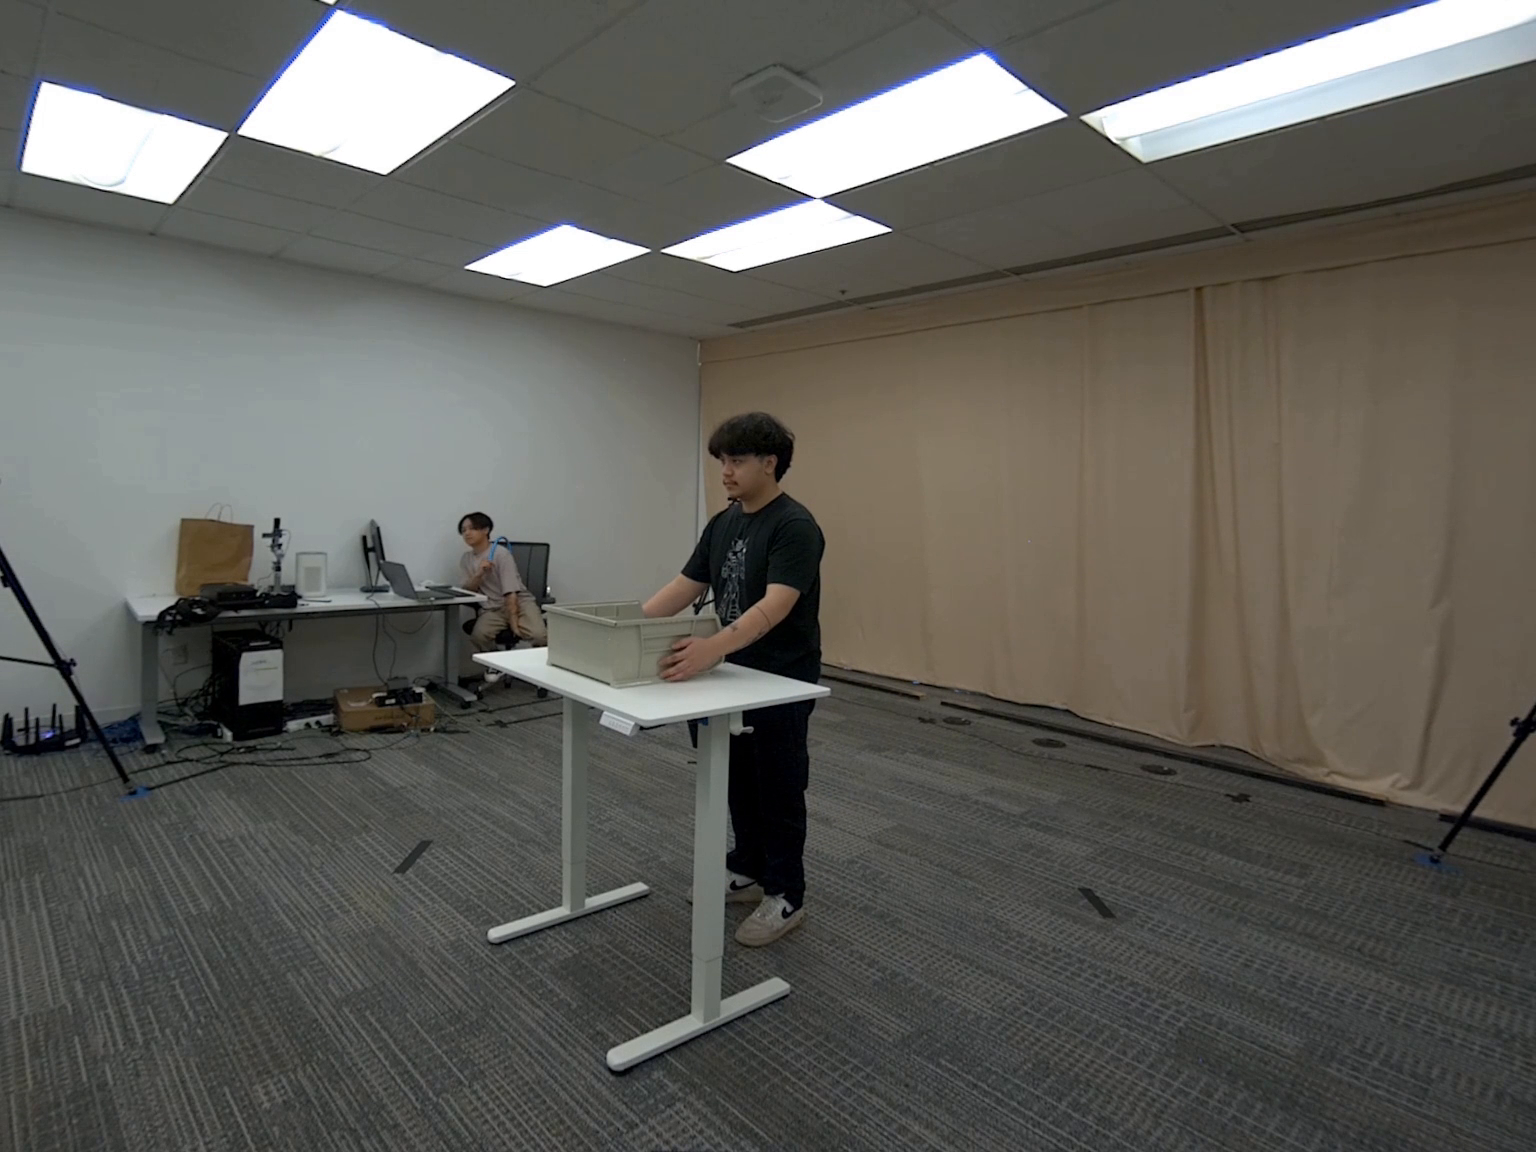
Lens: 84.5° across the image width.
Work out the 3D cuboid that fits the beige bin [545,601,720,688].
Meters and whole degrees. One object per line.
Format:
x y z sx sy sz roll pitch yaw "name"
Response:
-0.406 0.192 2.472 0.369 0.188 0.433 -3 6 -37 "beige bin"
